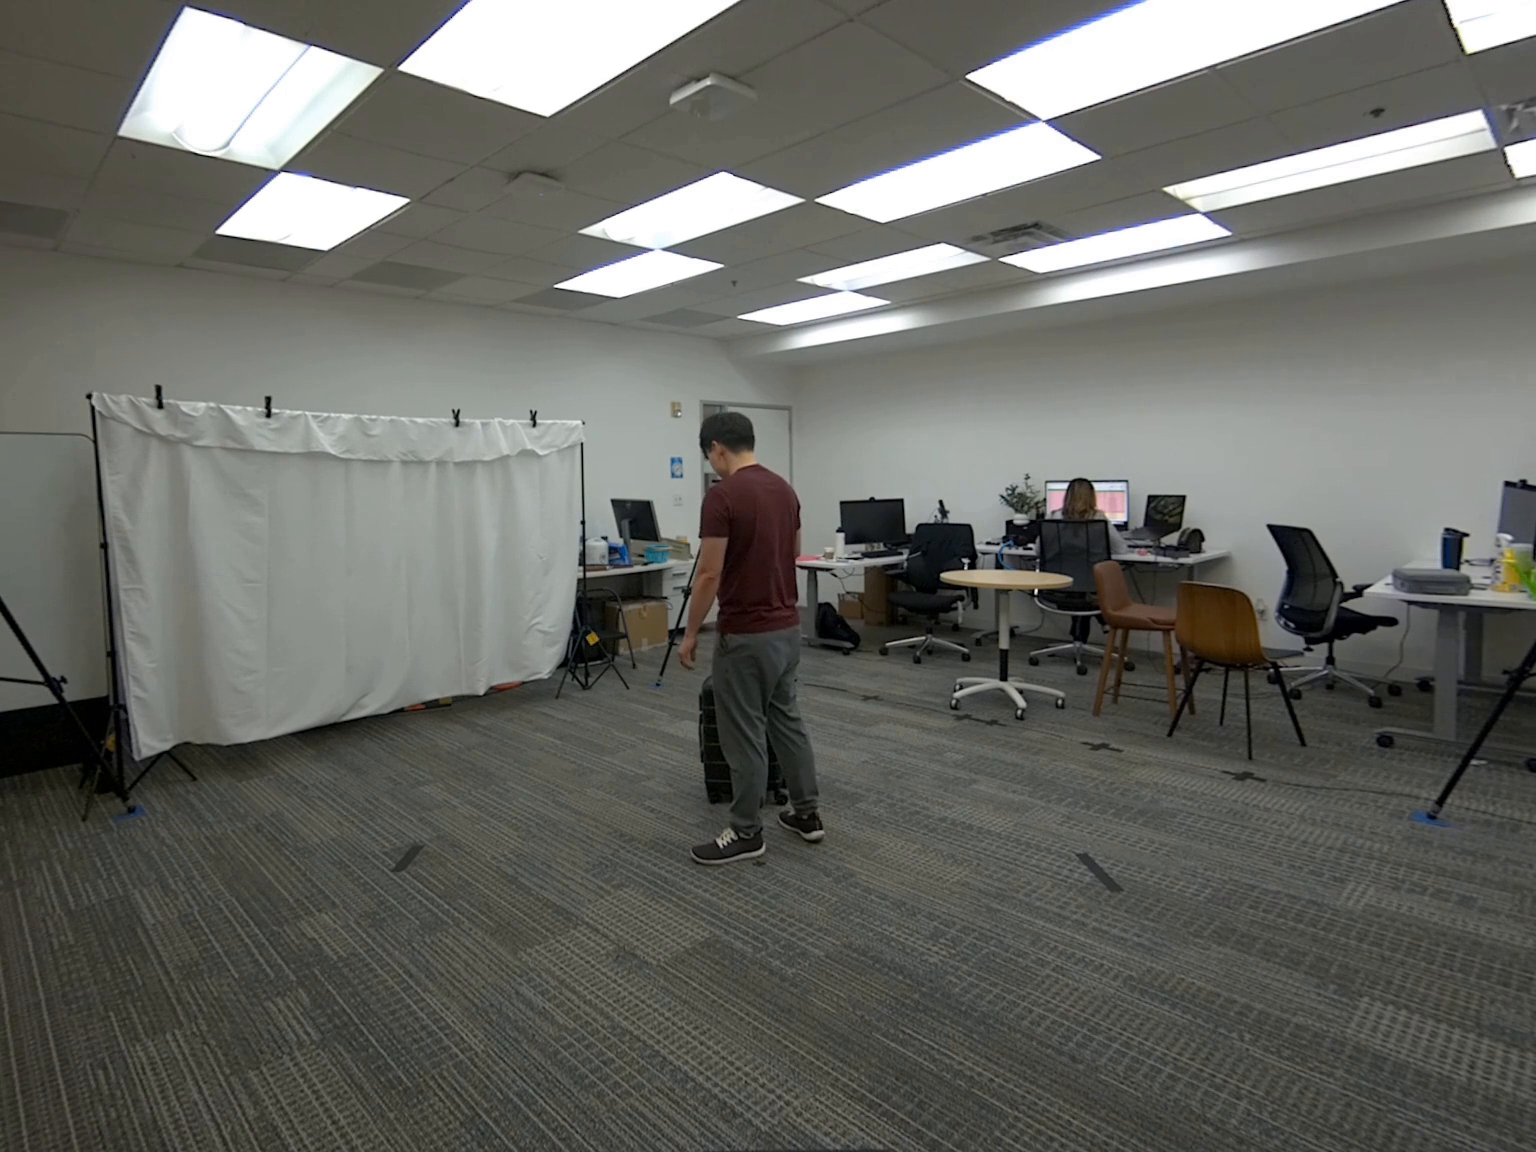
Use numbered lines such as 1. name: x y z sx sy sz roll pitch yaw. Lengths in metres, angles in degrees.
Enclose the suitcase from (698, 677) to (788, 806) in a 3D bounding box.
1. suitcase: -0.114 0.500 3.774 0.386 0.977 0.256 -2 1 6
